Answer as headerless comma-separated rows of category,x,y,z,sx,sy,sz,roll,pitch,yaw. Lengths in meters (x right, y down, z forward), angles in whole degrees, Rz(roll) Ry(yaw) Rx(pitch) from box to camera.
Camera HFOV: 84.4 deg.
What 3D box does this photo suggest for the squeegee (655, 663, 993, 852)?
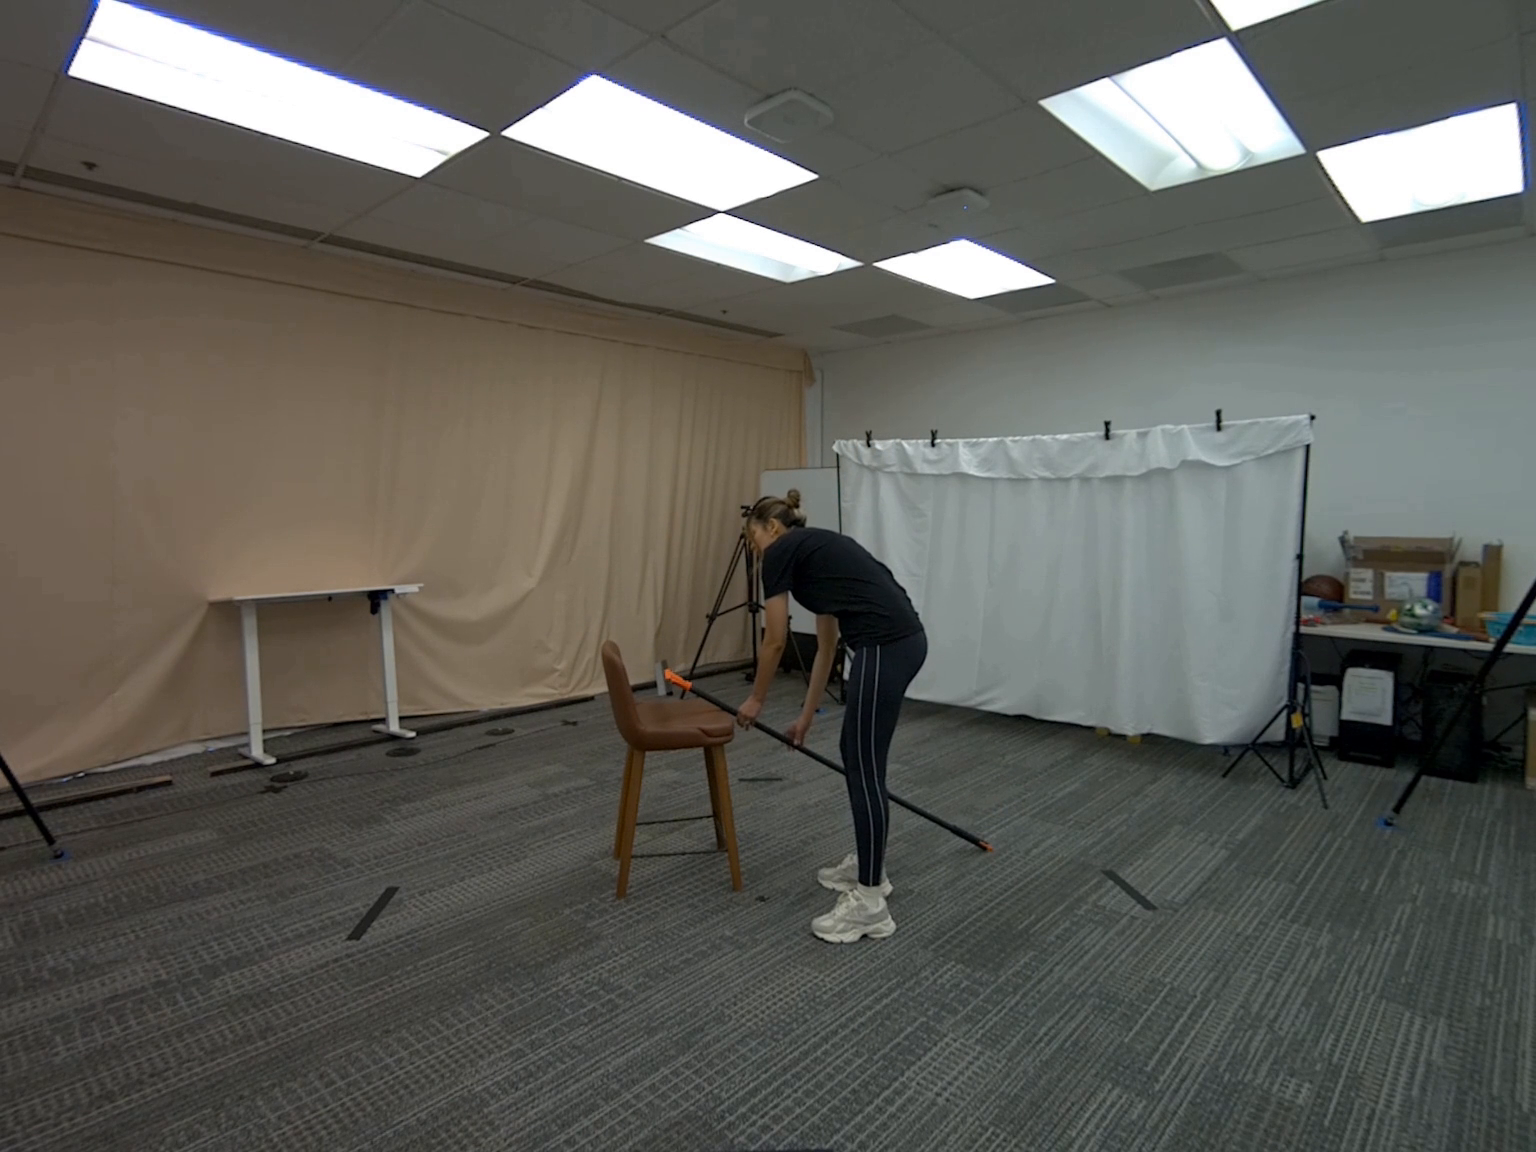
squeegee,0.250,0.738,3.292,1.520,0.439,0.053,29,-35,-9
